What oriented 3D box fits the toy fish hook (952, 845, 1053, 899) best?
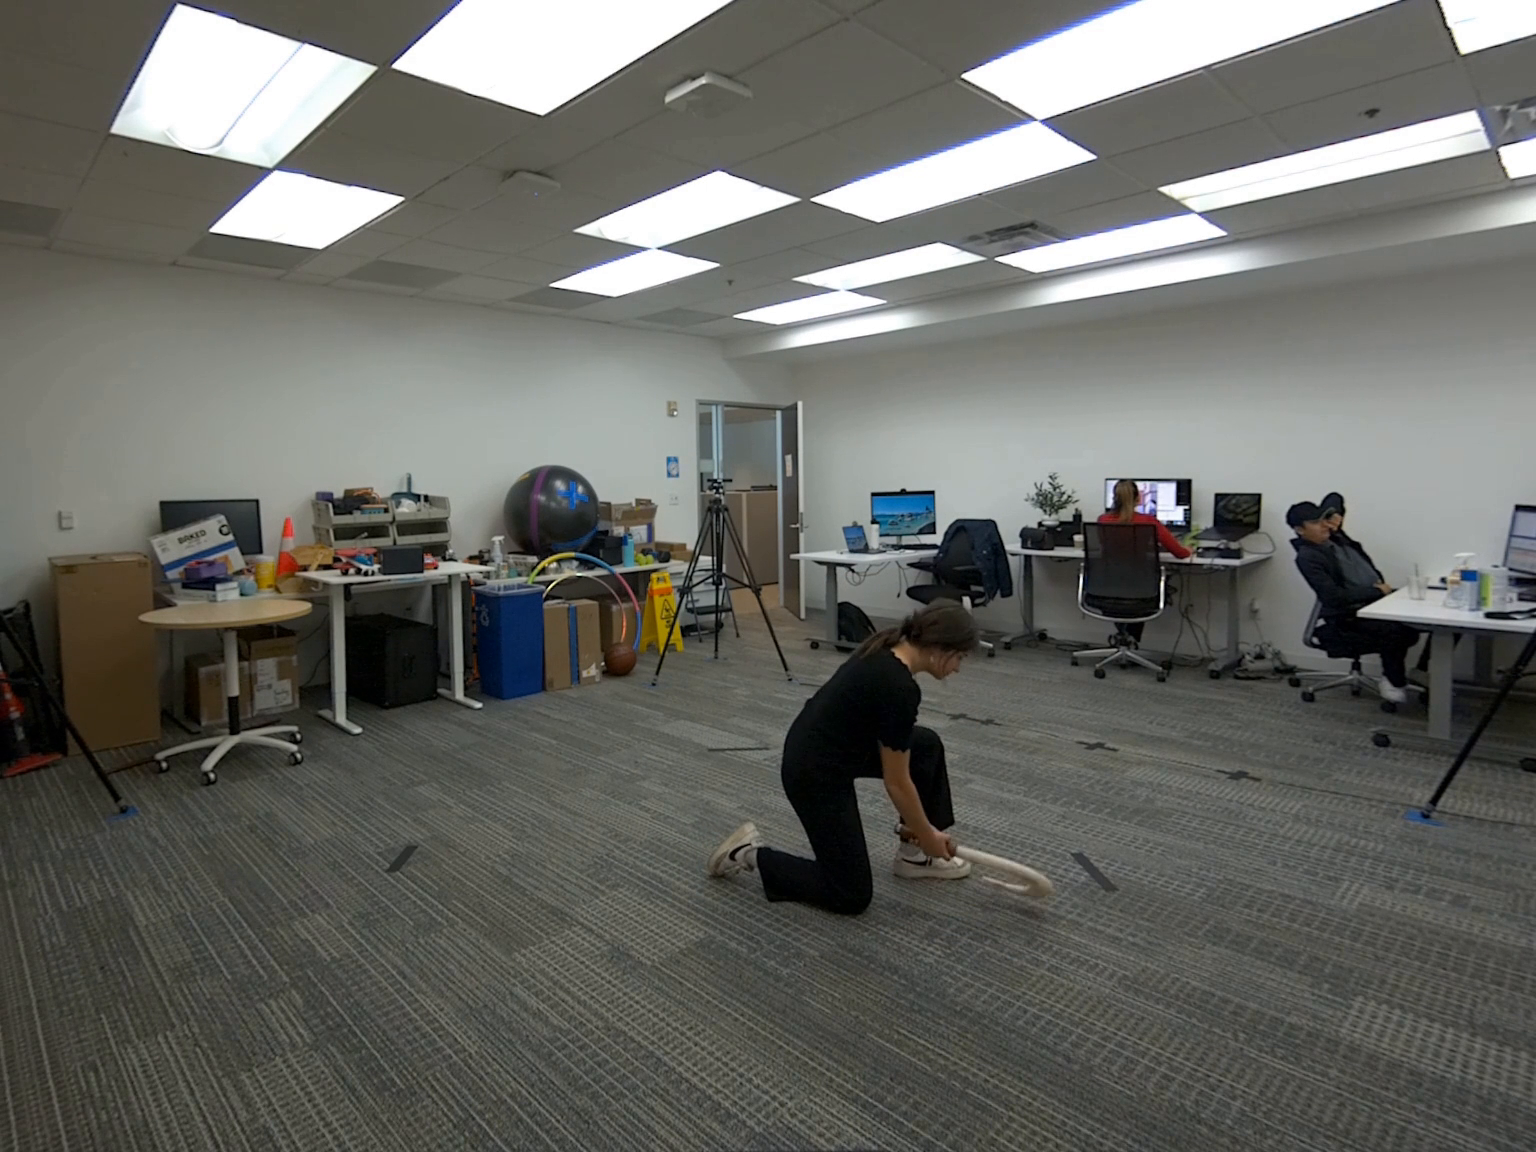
[{"bbox_3d":[0.655,0.918,2.749,0.517,0.218,0.049,18,53,18],"label":"toy fish hook"}]
